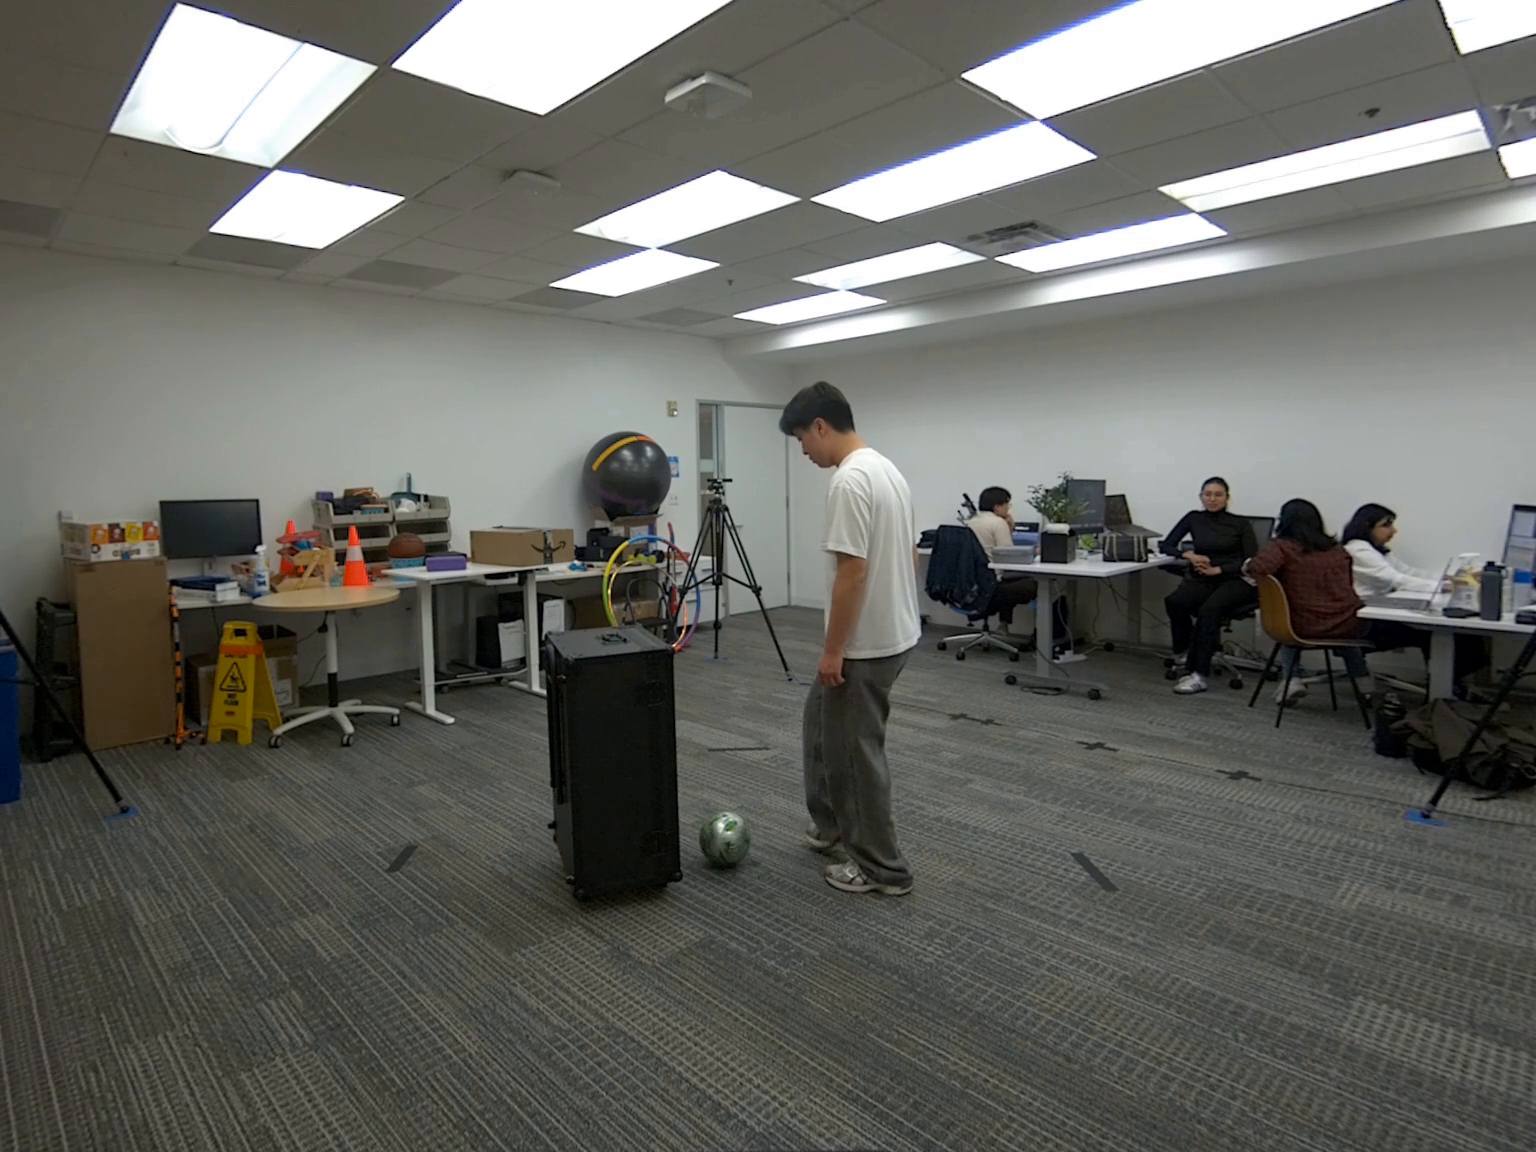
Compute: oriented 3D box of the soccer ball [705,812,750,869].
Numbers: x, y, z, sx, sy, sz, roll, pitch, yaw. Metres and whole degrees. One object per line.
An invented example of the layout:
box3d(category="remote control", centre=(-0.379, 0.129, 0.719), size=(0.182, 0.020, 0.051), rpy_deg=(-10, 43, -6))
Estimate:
box3d(category="soccer ball", centre=(-0.103, 0.930, 3.127), size=(0.187, 0.187, 0.188), rpy_deg=(-1, 5, -2))
